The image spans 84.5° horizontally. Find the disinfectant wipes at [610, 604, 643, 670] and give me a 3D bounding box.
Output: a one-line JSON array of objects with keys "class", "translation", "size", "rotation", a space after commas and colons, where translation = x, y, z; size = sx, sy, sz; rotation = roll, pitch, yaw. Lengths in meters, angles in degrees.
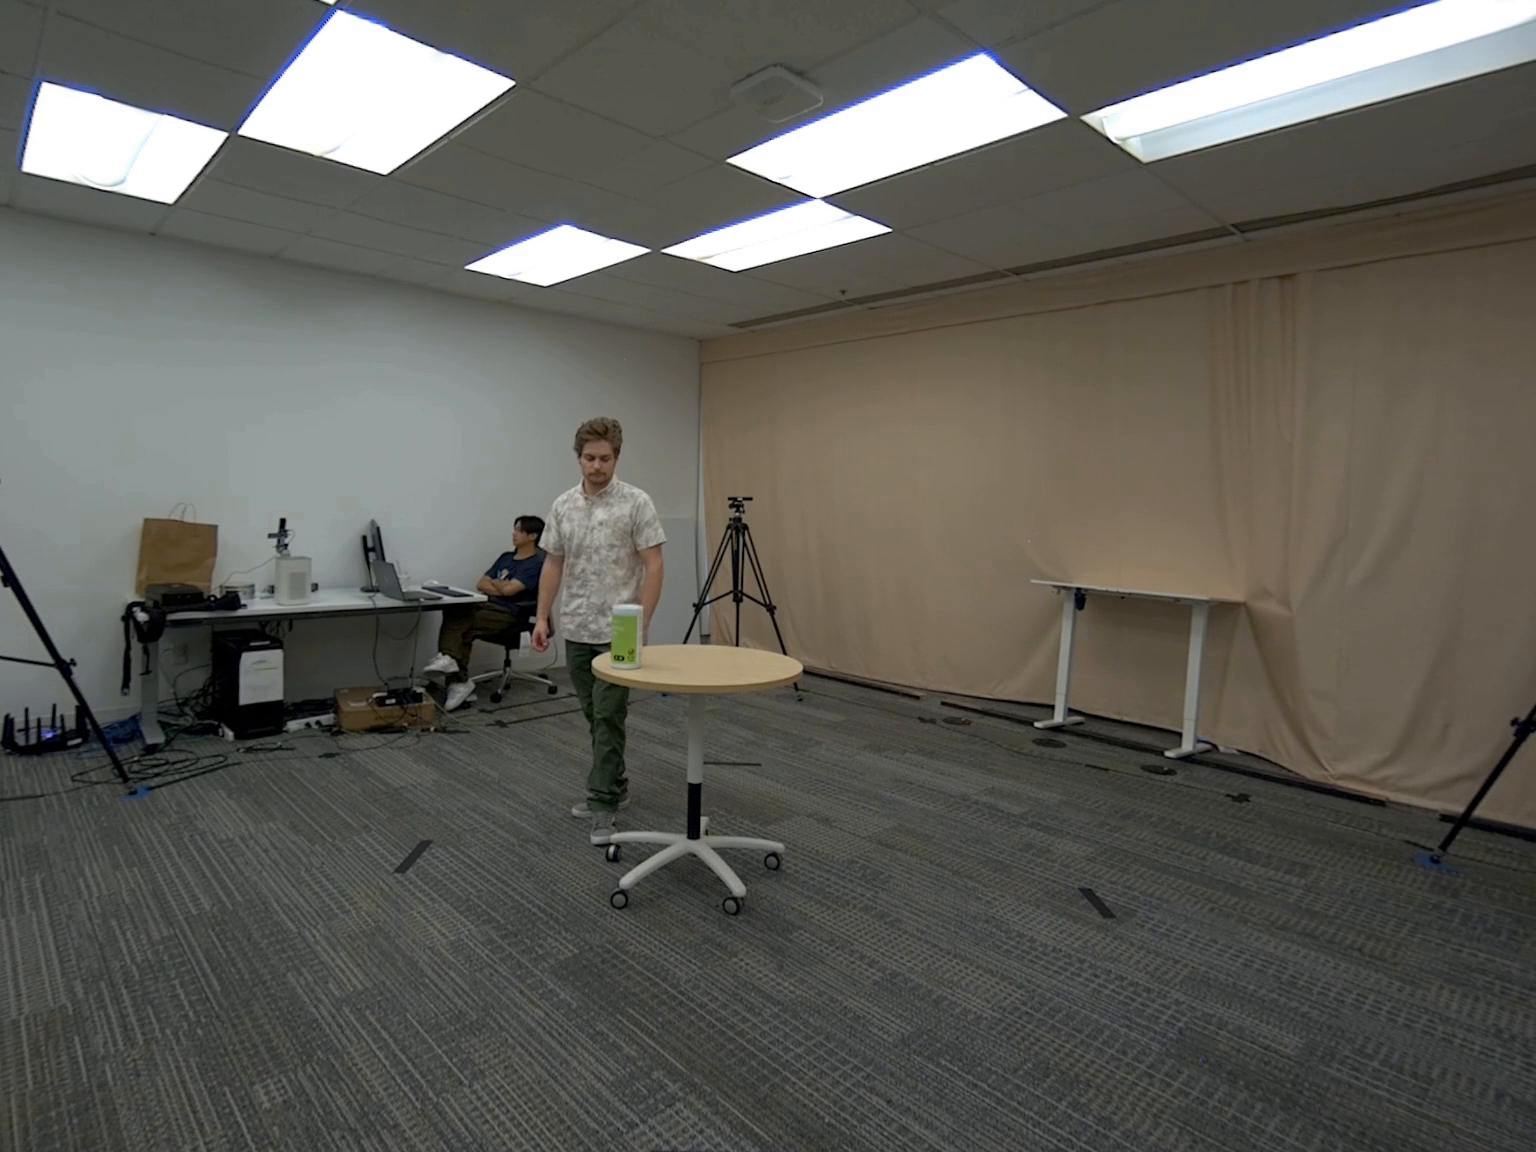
[{"class": "disinfectant wipes", "translation": [-0.495, 0.213, 2.942], "size": [0.118, 0.217, 0.118], "rotation": [2, 5, -2]}]
